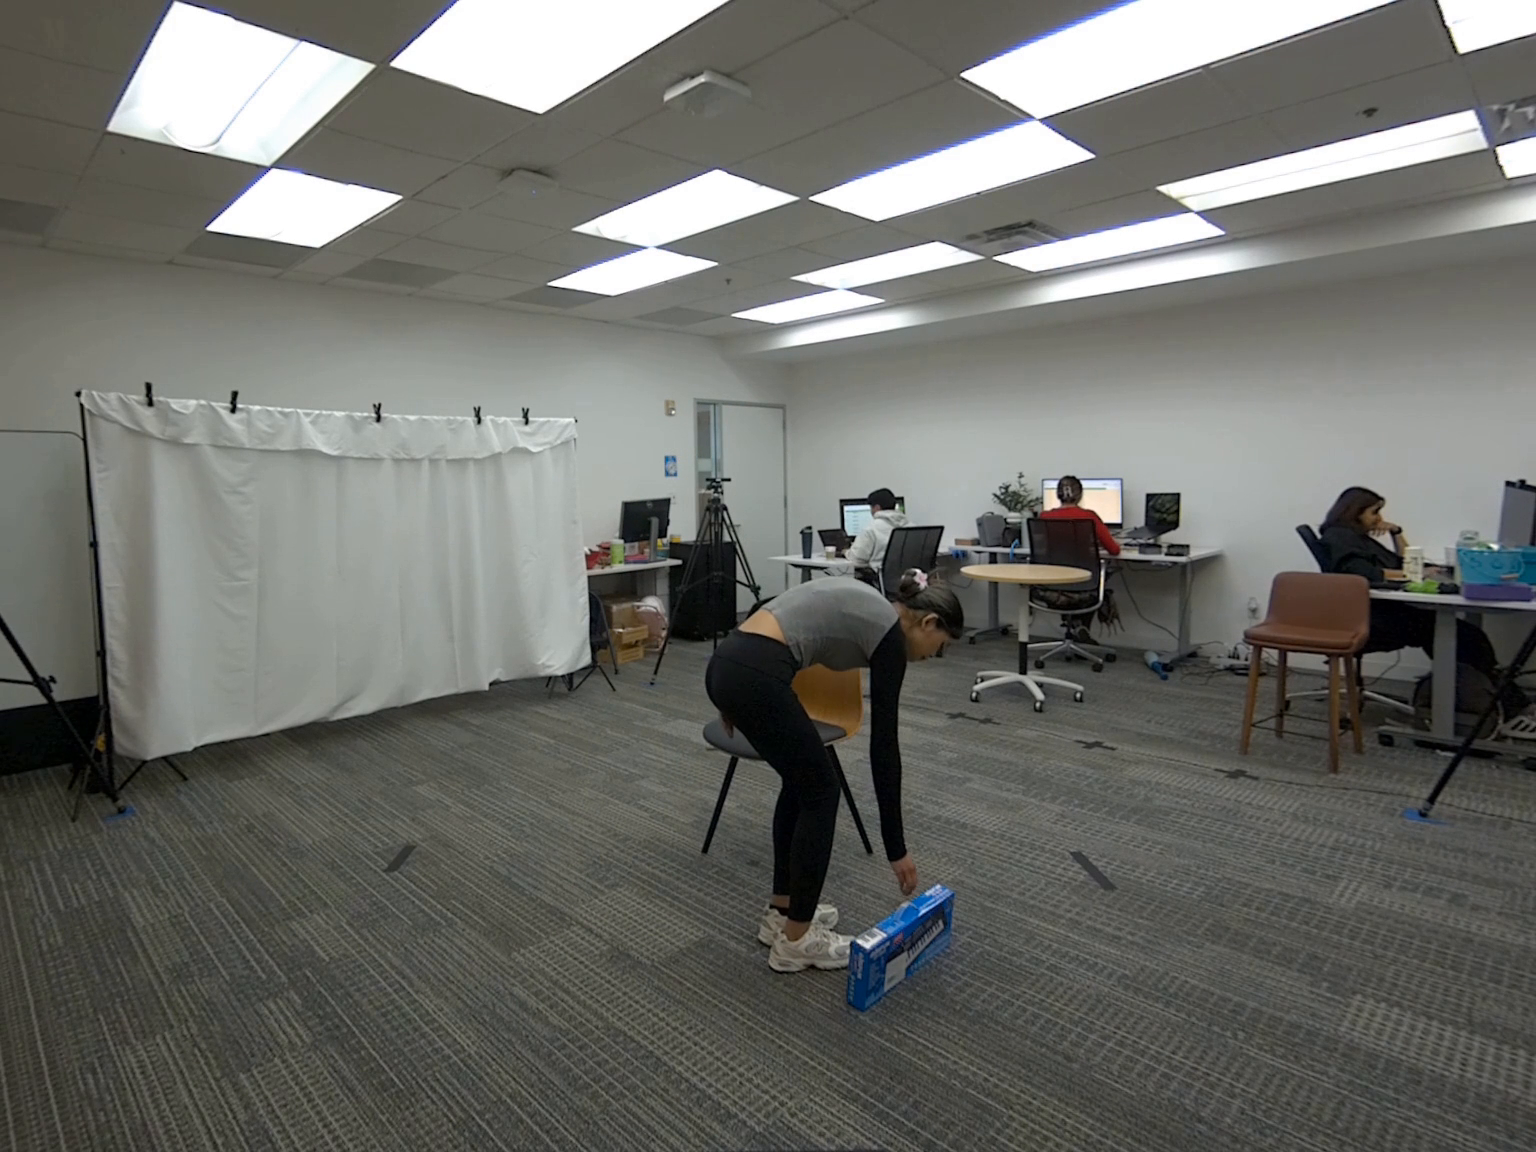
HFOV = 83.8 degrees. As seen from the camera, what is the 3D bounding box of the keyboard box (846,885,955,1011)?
[{"bbox_3d":[0.384,1.034,2.391,0.061,0.174,0.426,9,12,41],"label":"keyboard box"}]
